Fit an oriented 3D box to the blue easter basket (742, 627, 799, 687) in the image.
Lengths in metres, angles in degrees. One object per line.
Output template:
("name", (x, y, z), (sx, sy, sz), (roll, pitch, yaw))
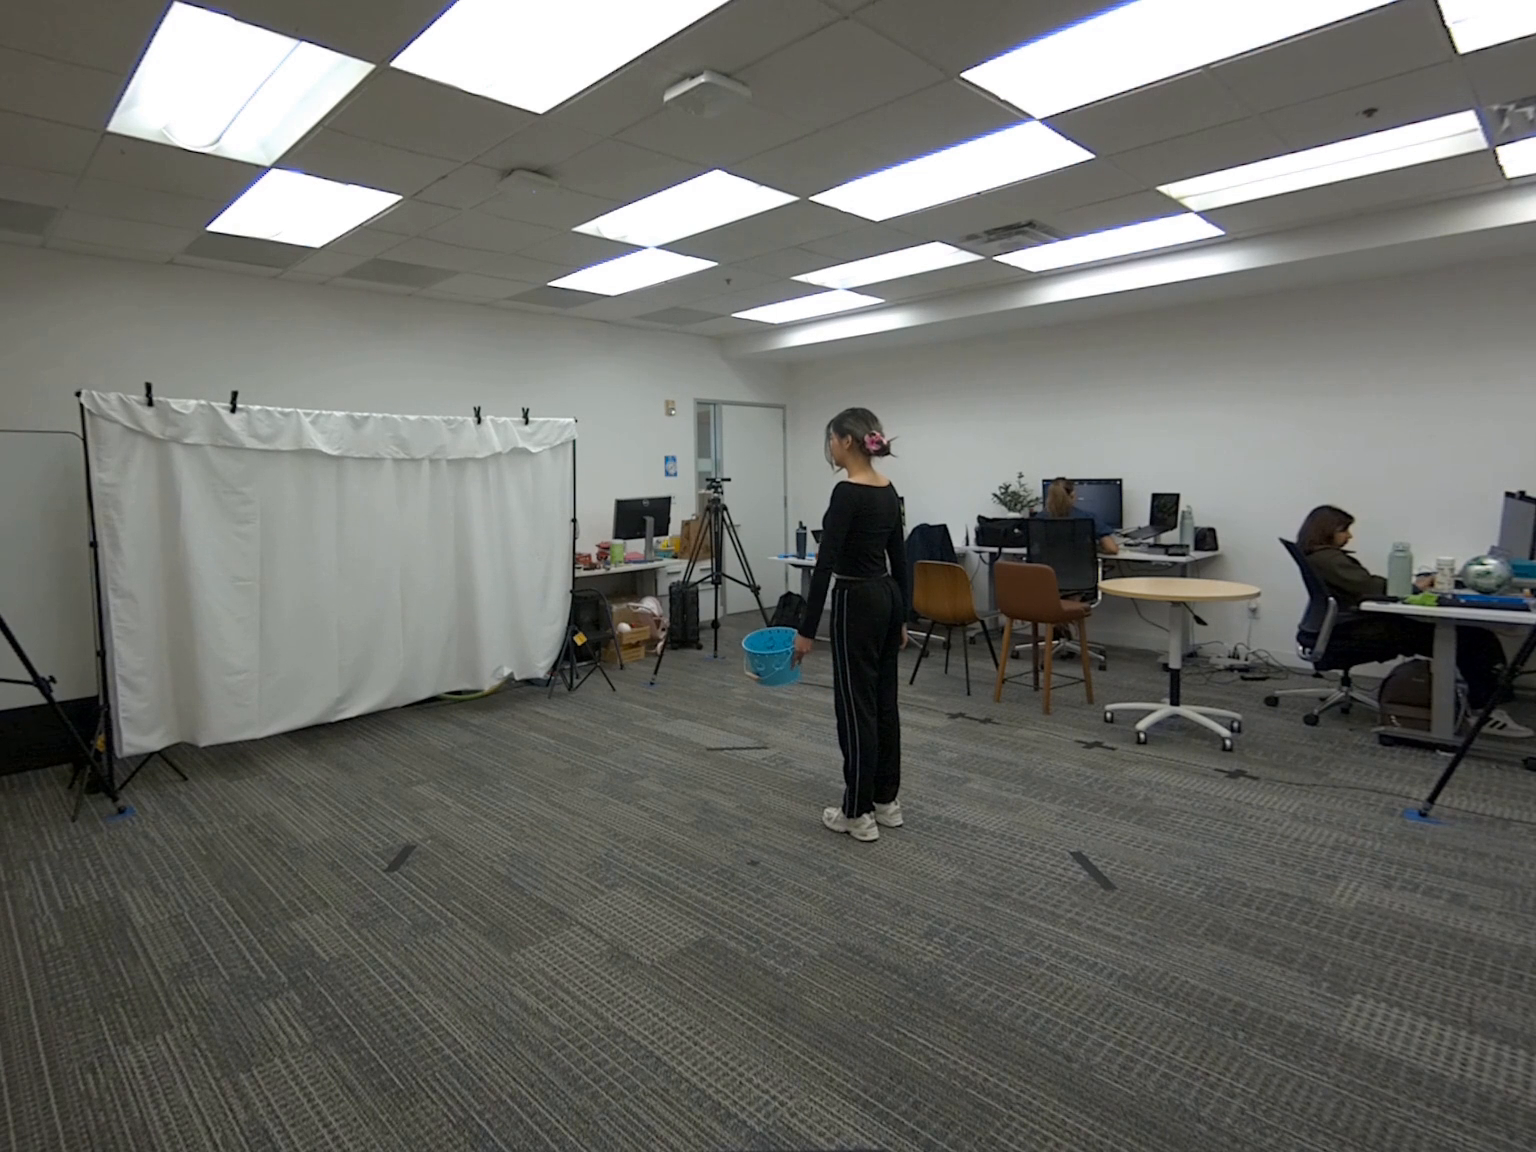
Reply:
("blue easter basket", (0.023, 0.310, 3.281), (0.244, 0.153, 0.247), (-6, 17, 0))
